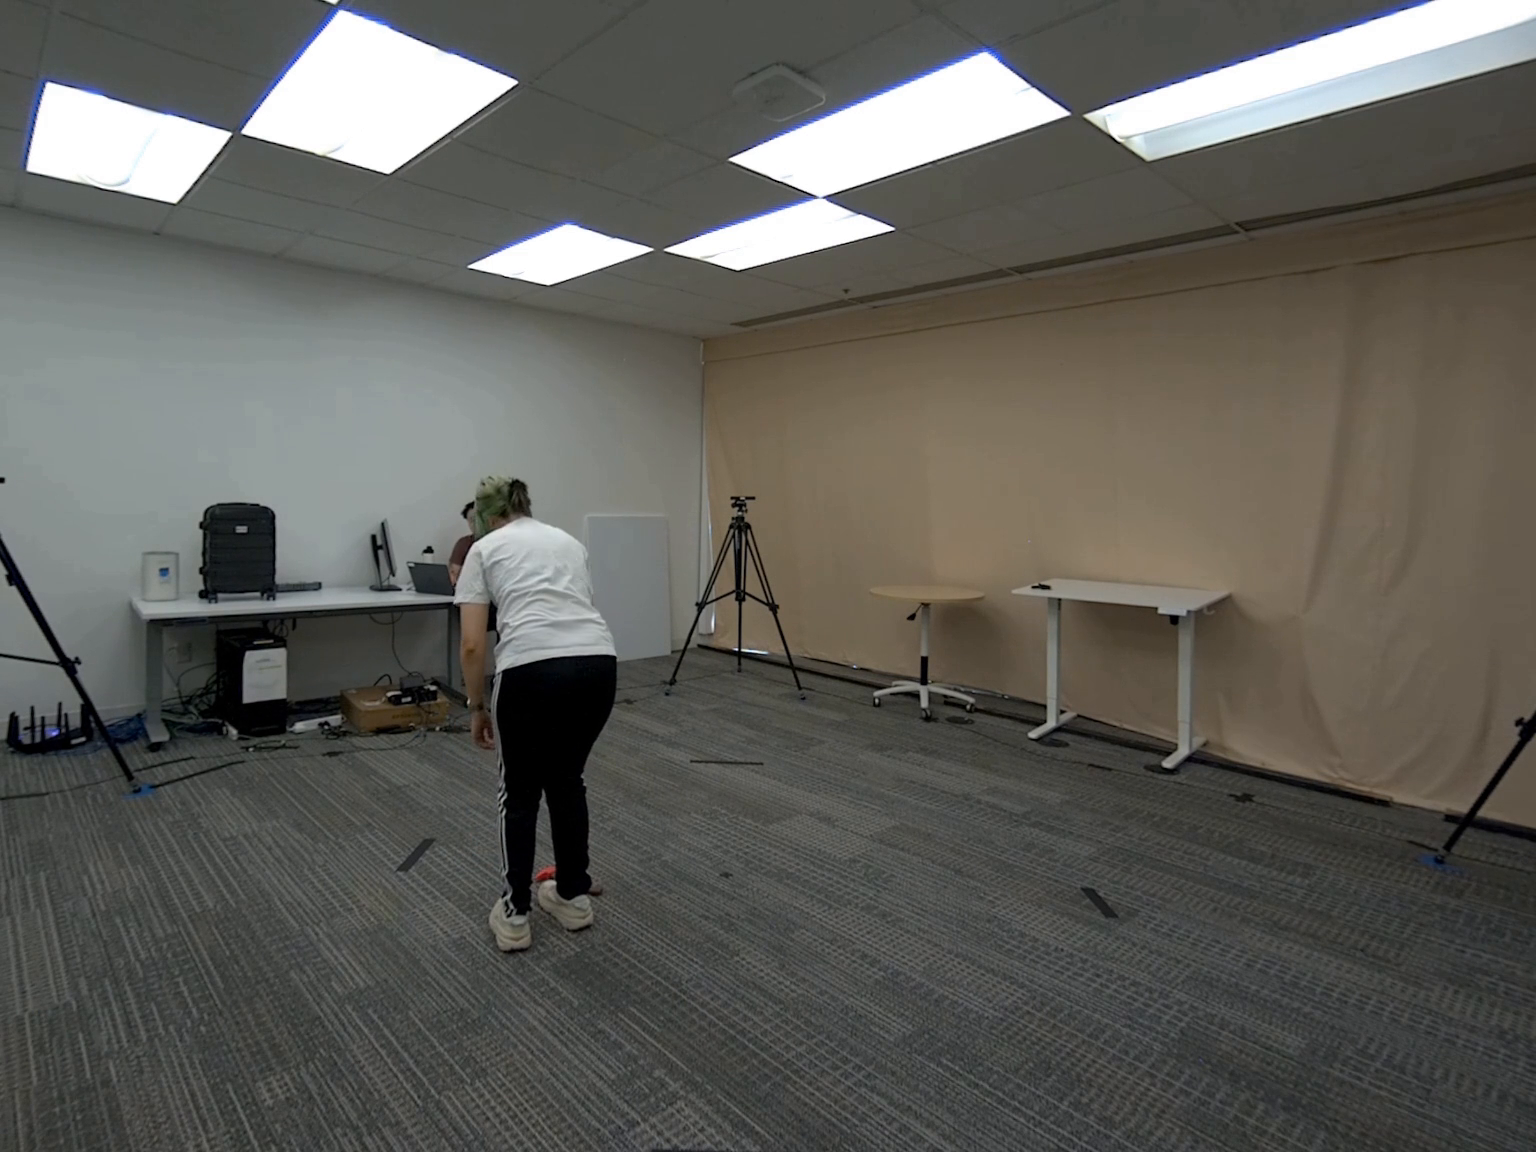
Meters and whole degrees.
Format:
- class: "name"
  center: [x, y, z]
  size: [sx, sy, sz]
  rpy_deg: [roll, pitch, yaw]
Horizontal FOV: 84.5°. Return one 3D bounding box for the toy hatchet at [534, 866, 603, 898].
- class: "toy hatchet"
  center: [-0.698, 1.092, 3.019]
  size: [0.274, 0.029, 0.129]
  rpy_deg: [5, 6, 19]
